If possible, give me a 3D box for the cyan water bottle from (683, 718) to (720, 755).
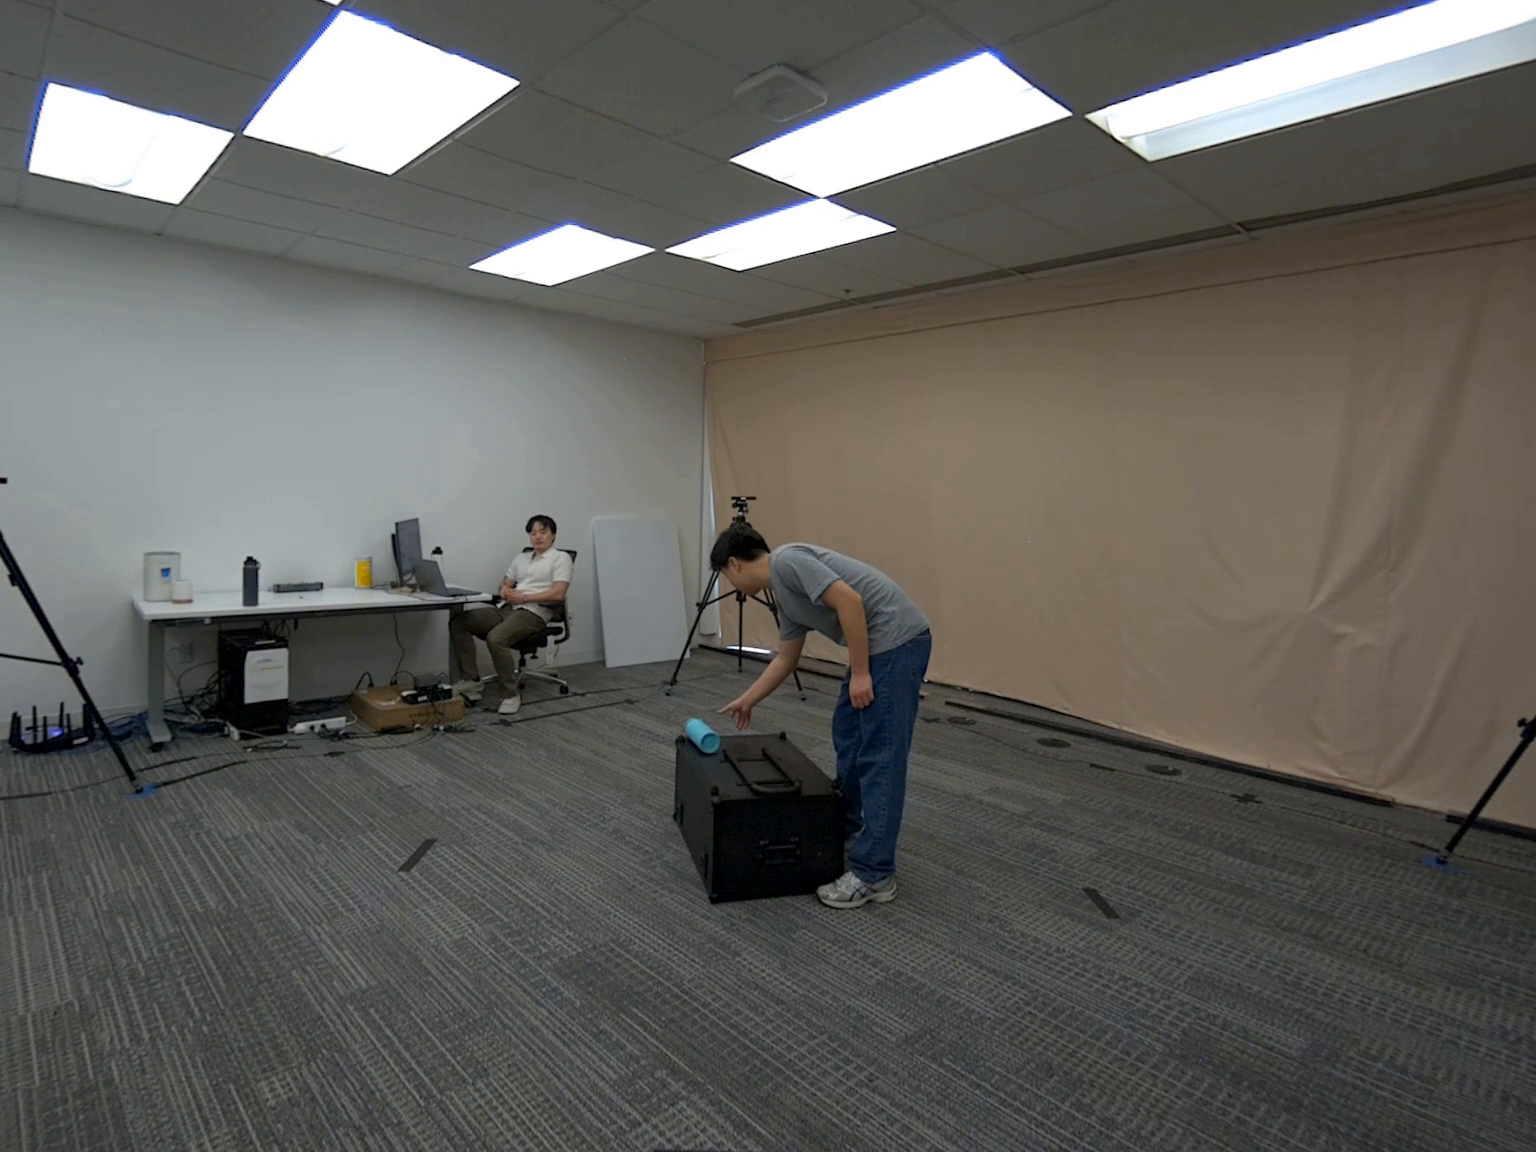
[{"bbox_3d":[-0.285,0.656,3.524,0.091,0.092,0.288,0,5,-20],"label":"cyan water bottle"}]
